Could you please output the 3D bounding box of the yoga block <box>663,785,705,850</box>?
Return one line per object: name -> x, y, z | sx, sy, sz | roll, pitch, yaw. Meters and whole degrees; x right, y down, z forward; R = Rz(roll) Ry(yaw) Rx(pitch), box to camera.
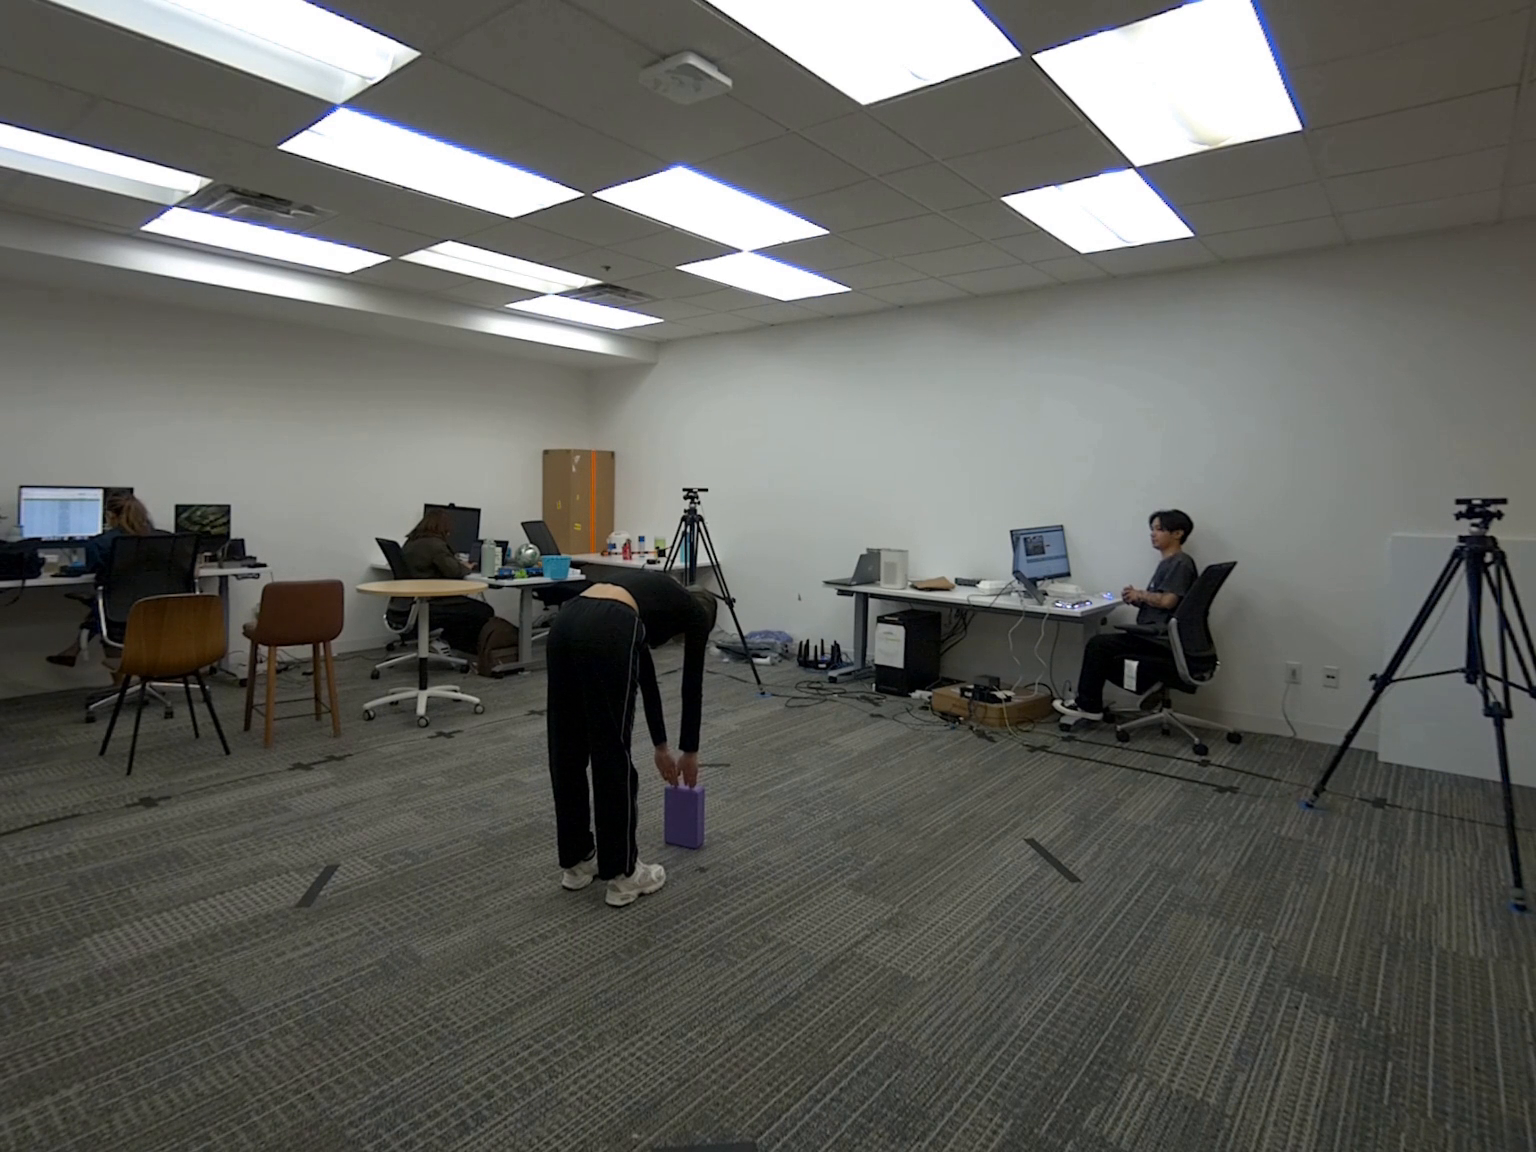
yoga block -> -0.341, 0.931, 3.330 | 0.152, 0.229, 0.075 | 2, 3, 24
